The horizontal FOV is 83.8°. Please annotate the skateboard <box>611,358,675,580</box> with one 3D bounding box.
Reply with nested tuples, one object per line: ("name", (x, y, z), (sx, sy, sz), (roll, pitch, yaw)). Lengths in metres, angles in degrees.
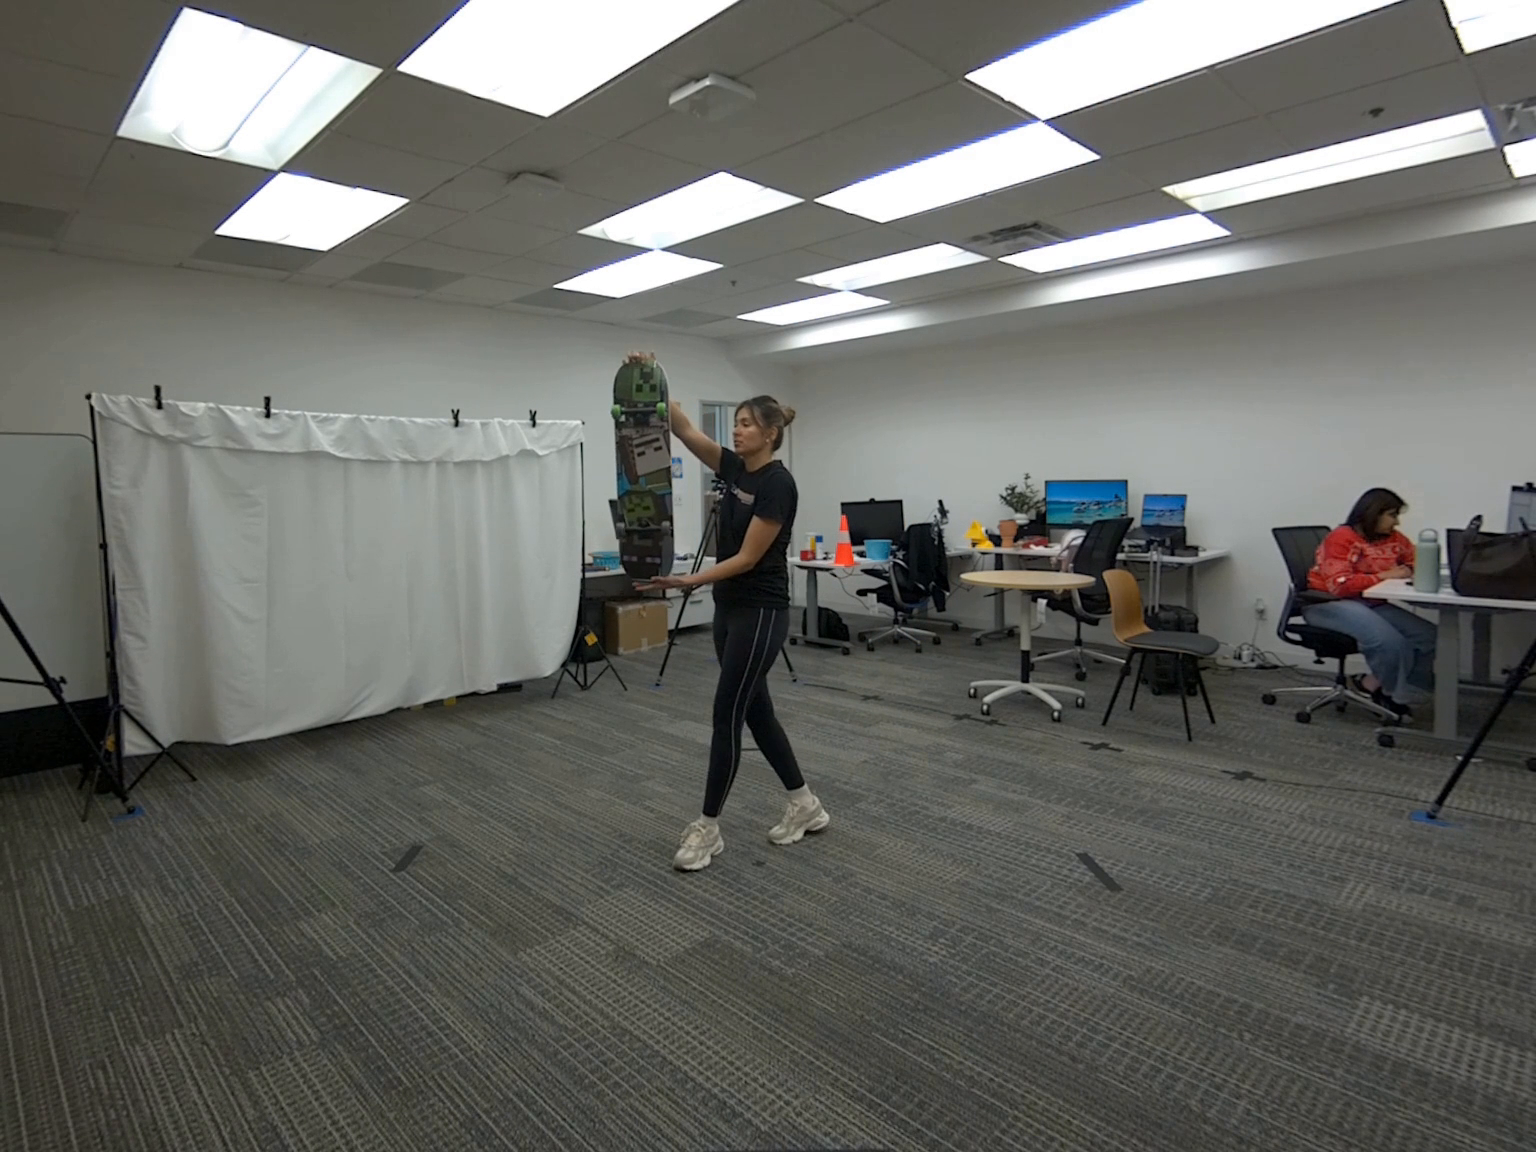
("skateboard", (-0.423, -0.359, 2.909), (0.194, 0.784, 0.110), (-3, 2, 5))
